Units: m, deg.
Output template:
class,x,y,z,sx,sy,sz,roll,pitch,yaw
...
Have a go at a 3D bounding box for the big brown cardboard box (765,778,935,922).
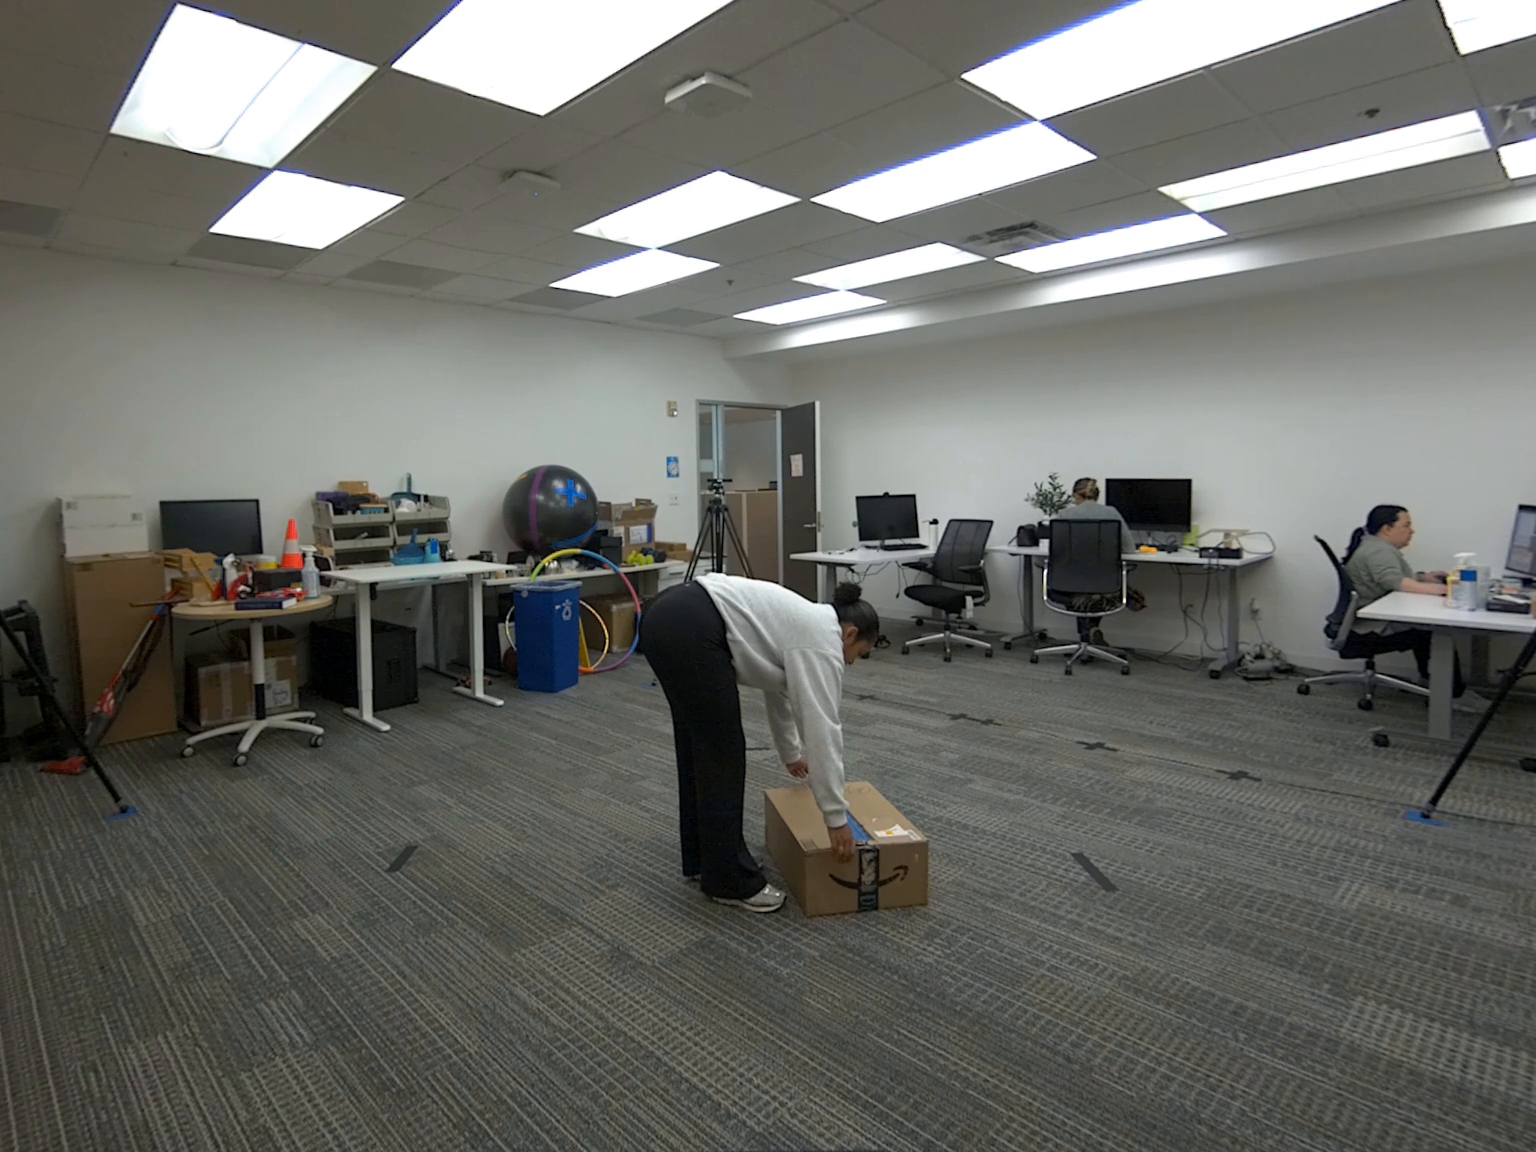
class,x,y,z,sx,sy,sz,roll,pitch,yaw
big brown cardboard box,0.263,0.937,3.017,0.413,0.232,0.598,-2,5,-13
